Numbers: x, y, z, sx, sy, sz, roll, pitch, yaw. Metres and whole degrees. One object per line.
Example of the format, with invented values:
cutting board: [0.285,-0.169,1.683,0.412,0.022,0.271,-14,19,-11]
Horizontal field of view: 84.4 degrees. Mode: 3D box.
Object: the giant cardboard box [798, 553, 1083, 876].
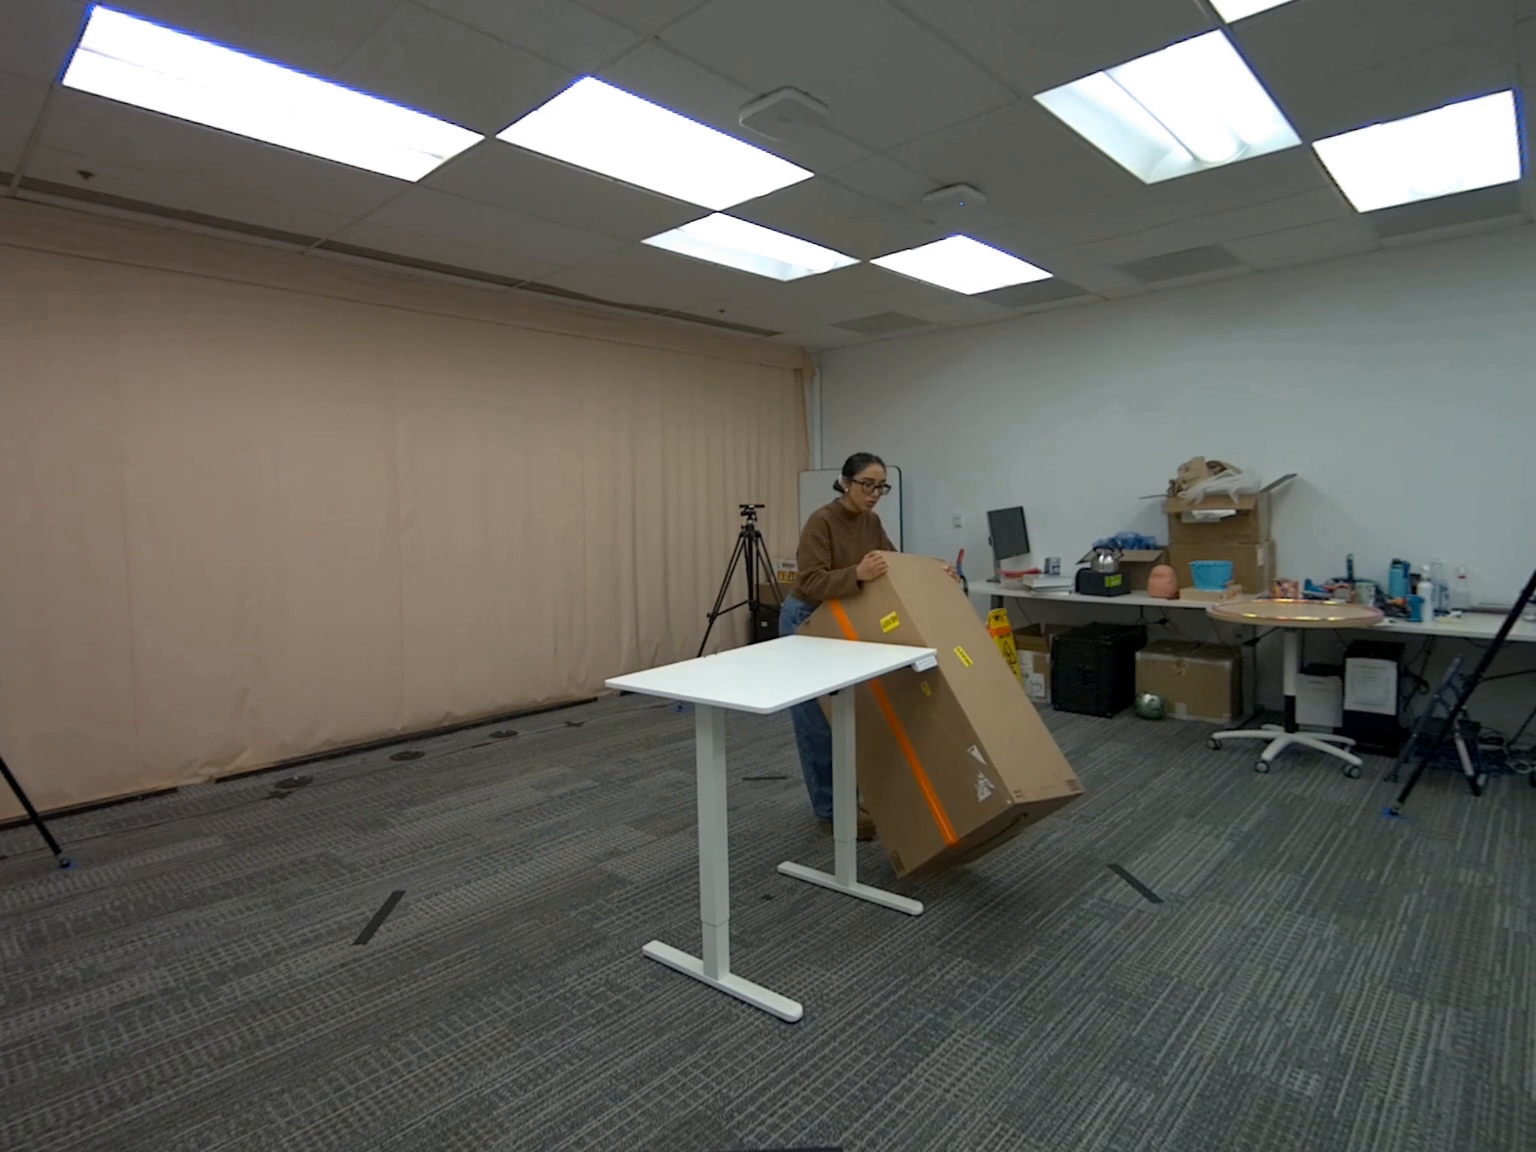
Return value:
giant cardboard box: [0.600,0.503,3.174,0.412,1.054,0.581,6,-43,-40]
